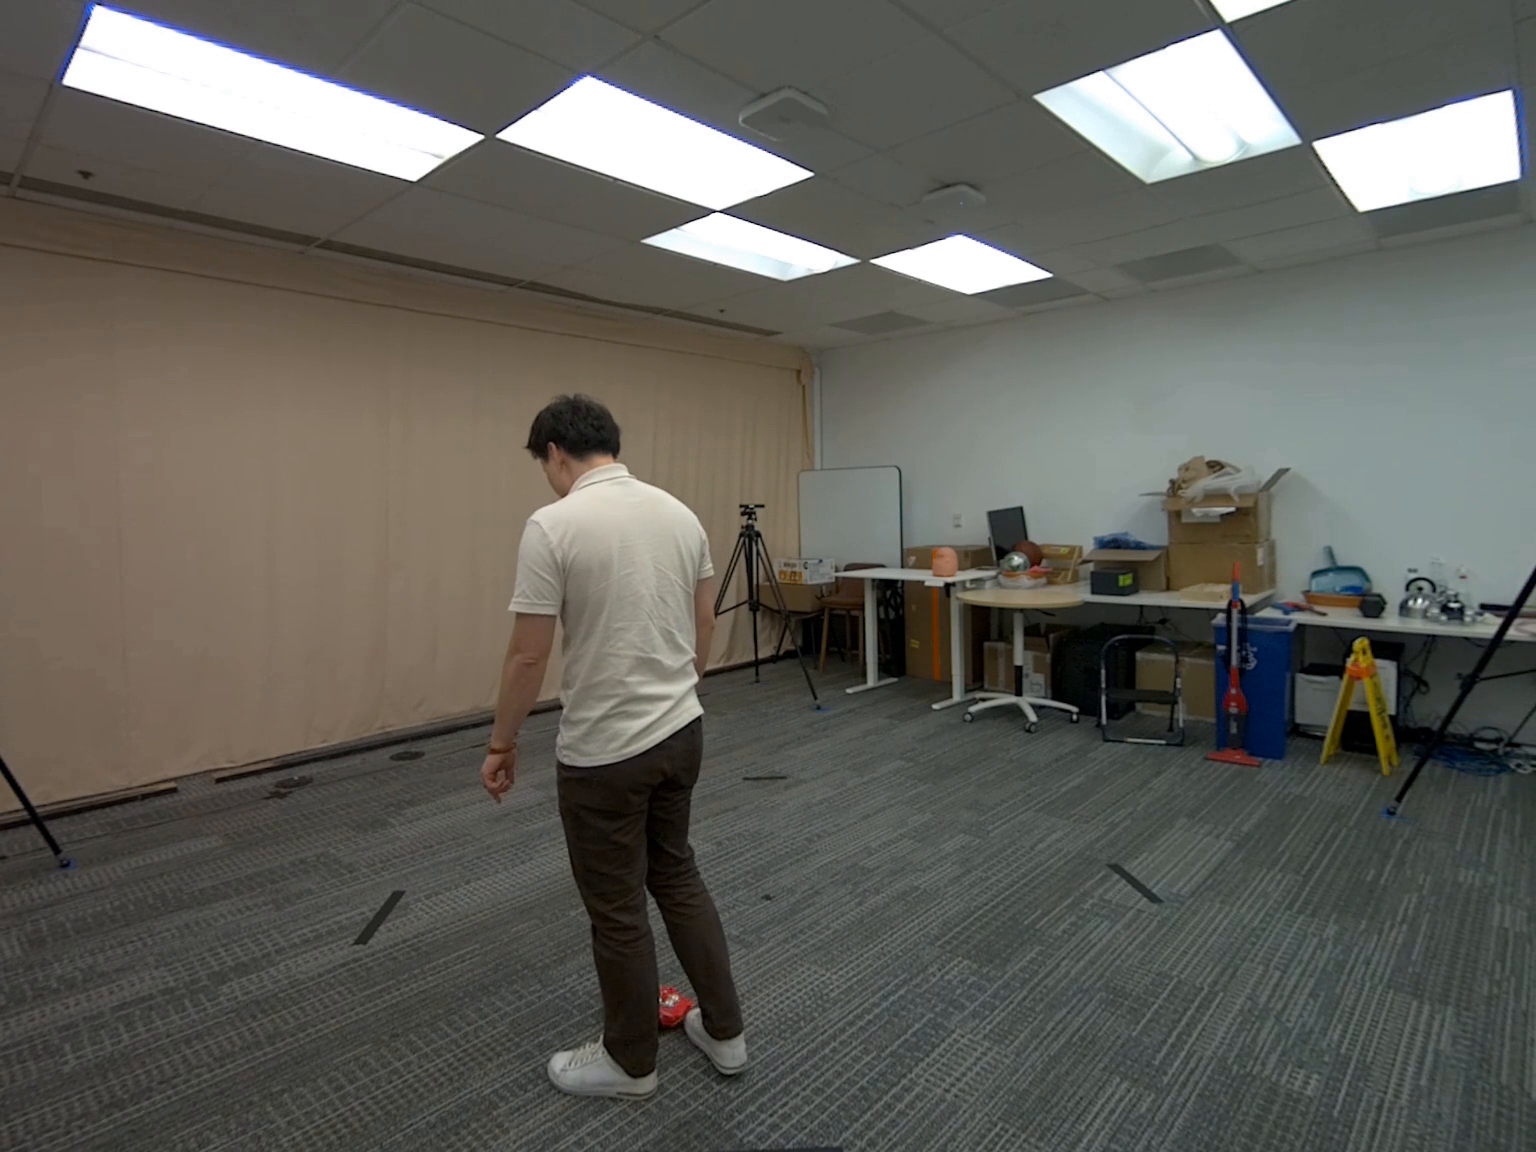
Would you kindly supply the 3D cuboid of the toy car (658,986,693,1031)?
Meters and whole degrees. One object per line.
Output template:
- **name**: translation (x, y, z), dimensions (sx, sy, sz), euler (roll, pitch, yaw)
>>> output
- **toy car**: translation (-0.330, 1.176, 2.302), dimensions (0.261, 0.083, 0.127), euler (-10, -1, 33)
